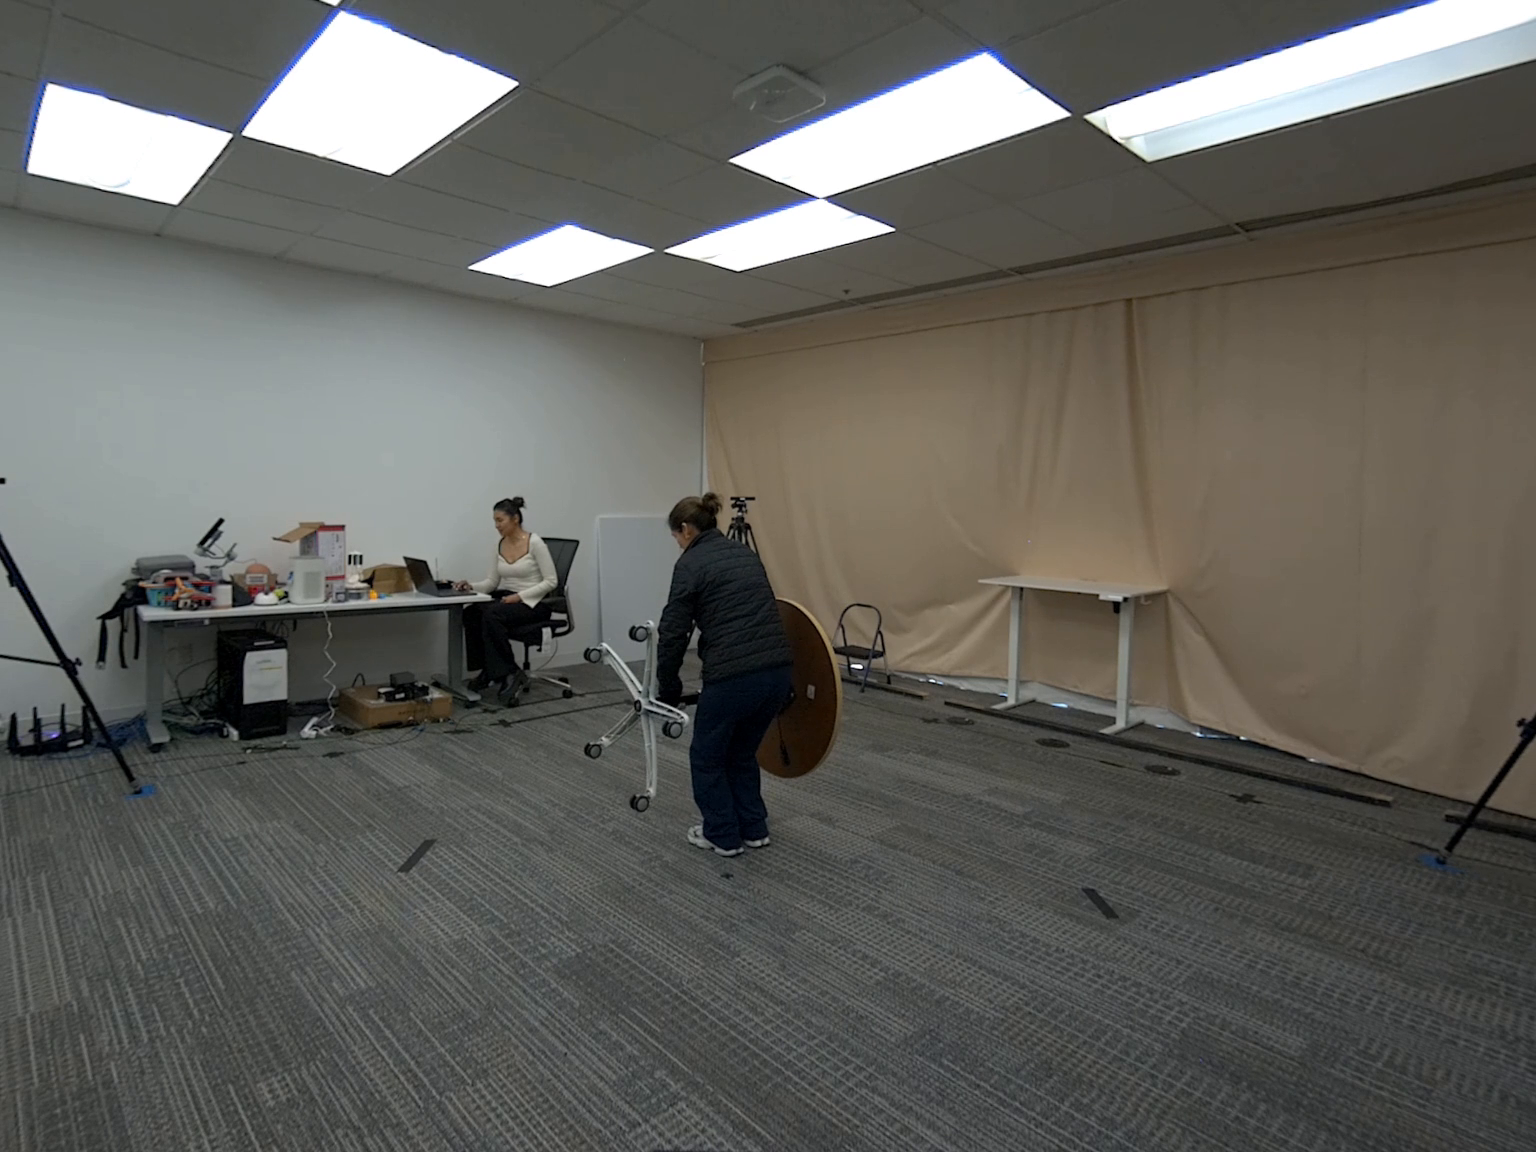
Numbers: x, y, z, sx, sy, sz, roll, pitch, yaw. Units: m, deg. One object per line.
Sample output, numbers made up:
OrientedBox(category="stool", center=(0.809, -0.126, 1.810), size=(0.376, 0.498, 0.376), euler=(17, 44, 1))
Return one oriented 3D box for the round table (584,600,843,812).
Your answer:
OrientedBox(category="round table", center=(-0.252, 0.501, 3.388), size=(0.769, 0.783, 0.805), euler=(-2, 6, -38))
